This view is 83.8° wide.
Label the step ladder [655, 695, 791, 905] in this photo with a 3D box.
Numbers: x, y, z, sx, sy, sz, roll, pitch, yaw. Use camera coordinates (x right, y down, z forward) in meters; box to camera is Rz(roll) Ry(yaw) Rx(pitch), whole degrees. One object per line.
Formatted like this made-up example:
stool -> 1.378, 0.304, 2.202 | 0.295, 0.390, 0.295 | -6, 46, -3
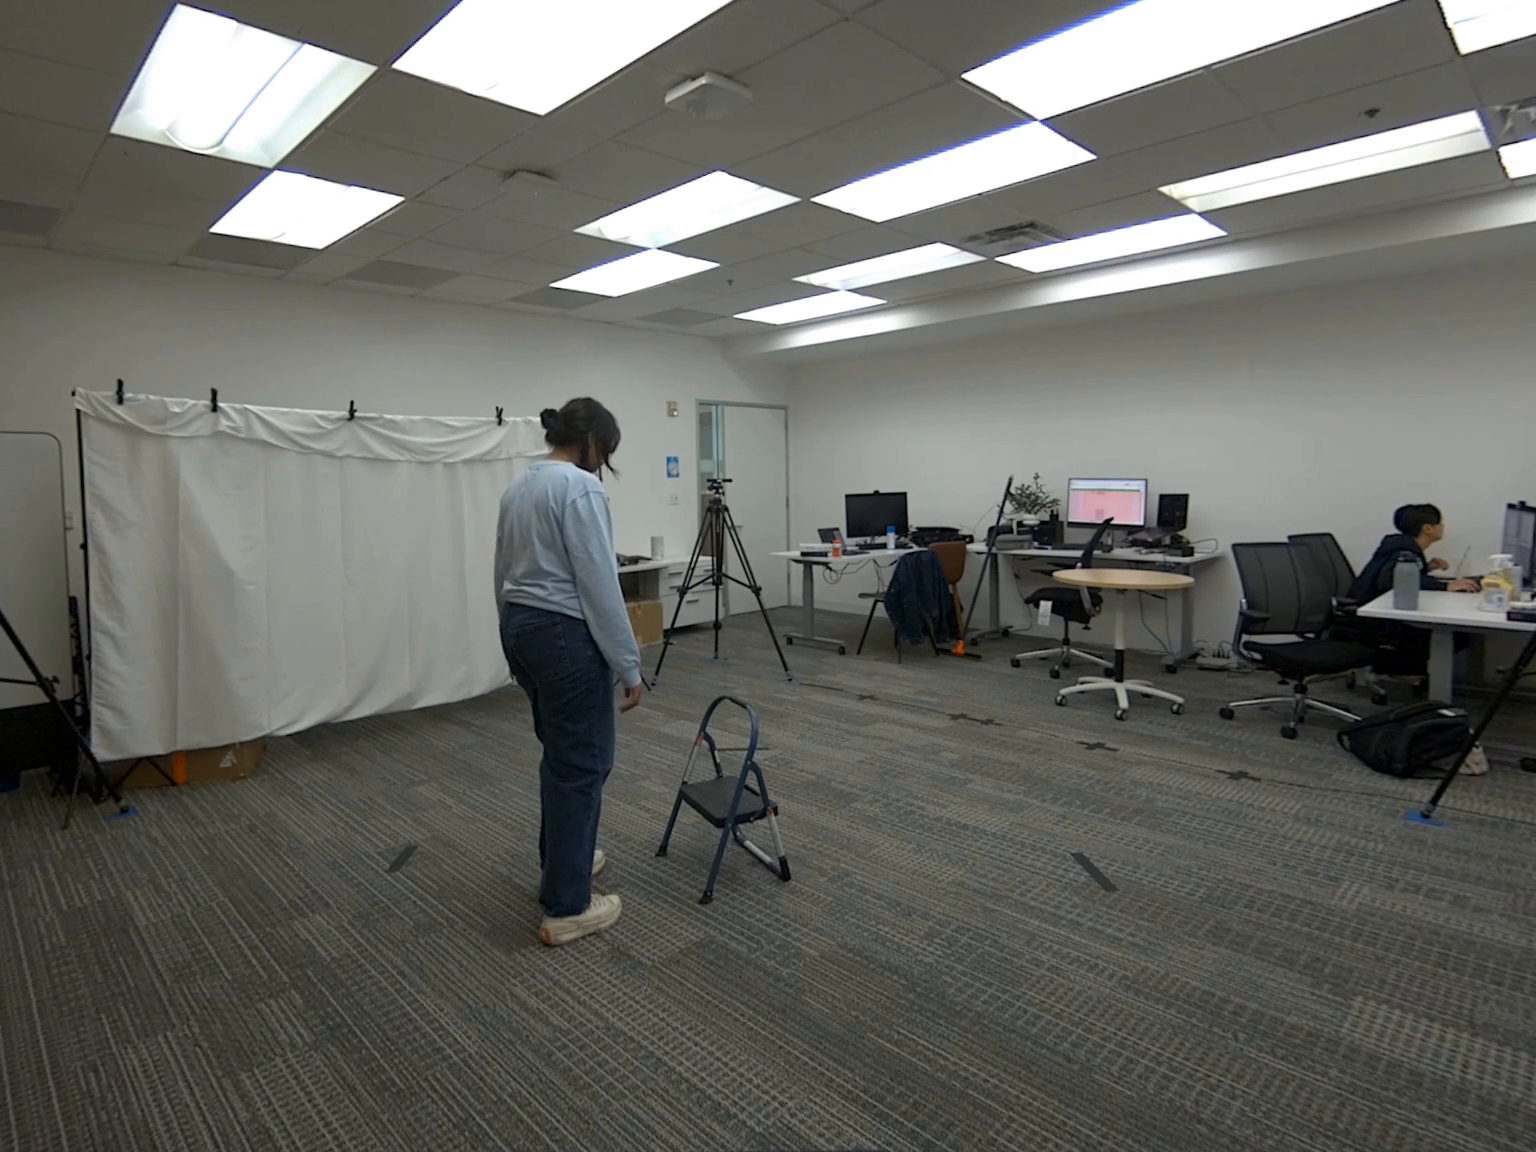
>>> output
step ladder -> -0.167, 0.749, 3.060 | 0.341, 0.604, 0.442 | -3, 5, -28
